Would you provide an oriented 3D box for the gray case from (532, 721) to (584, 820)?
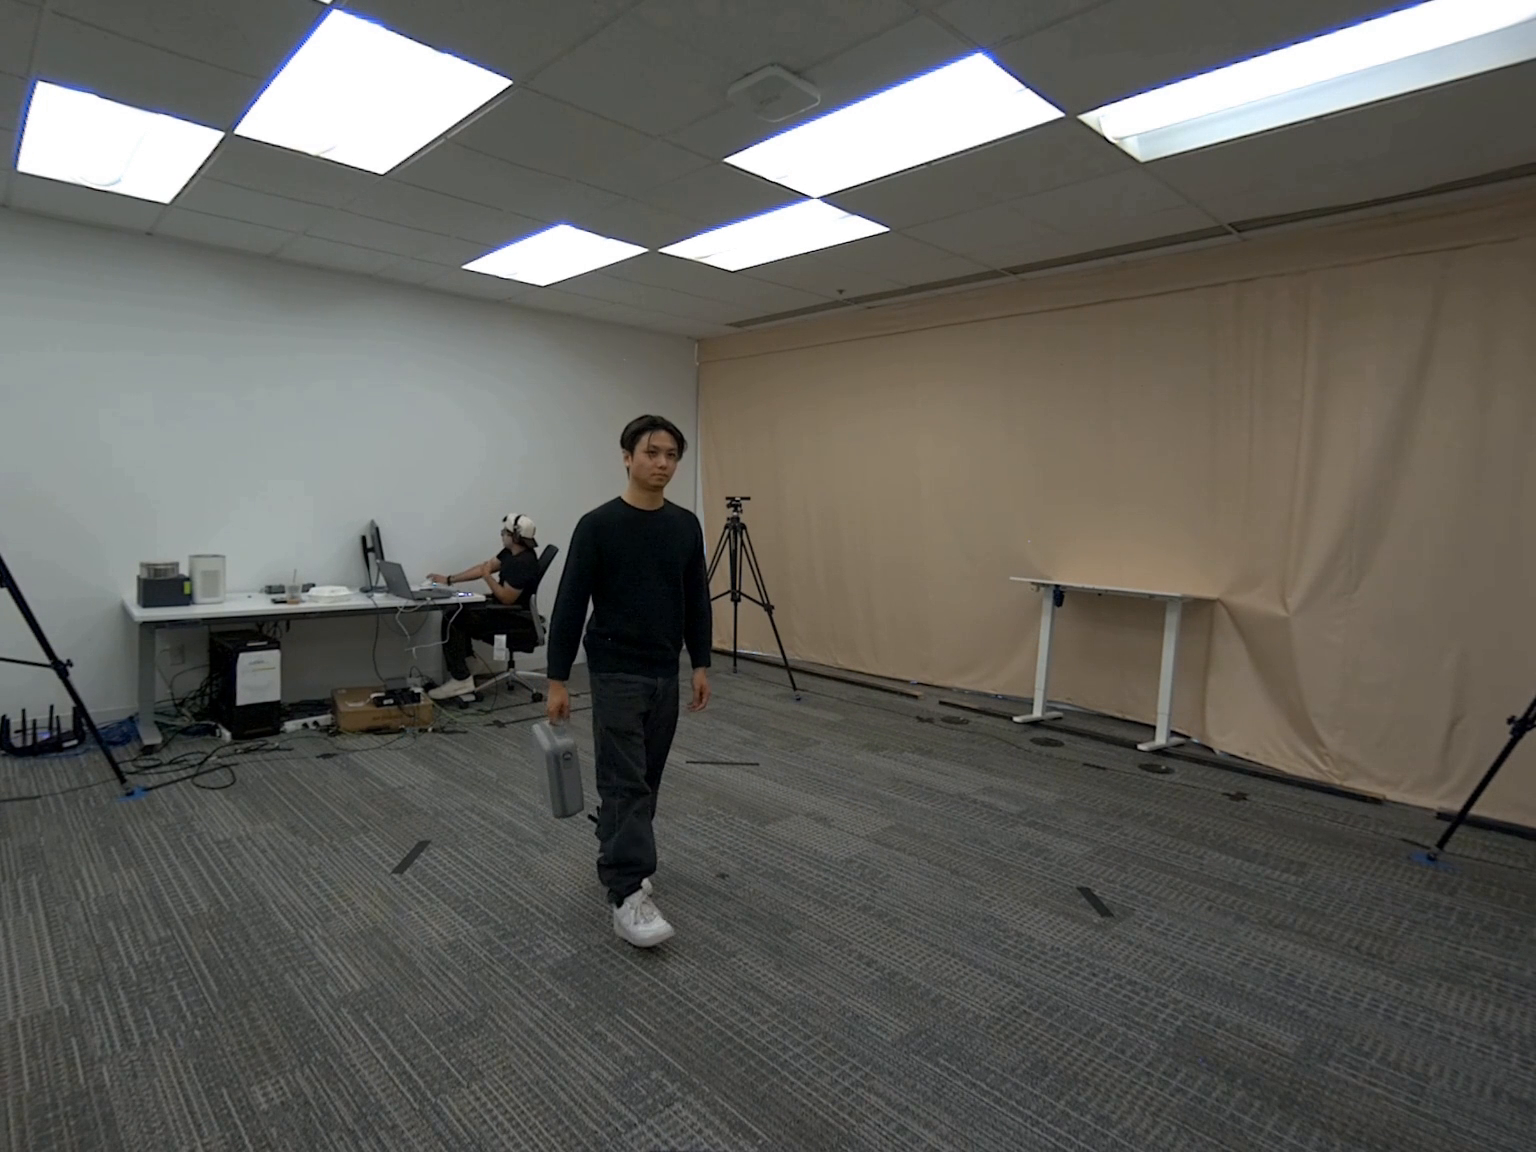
[{"bbox_3d":[-0.683,0.614,2.738,0.103,0.258,0.263,-9,12,-24],"label":"gray case"}]
